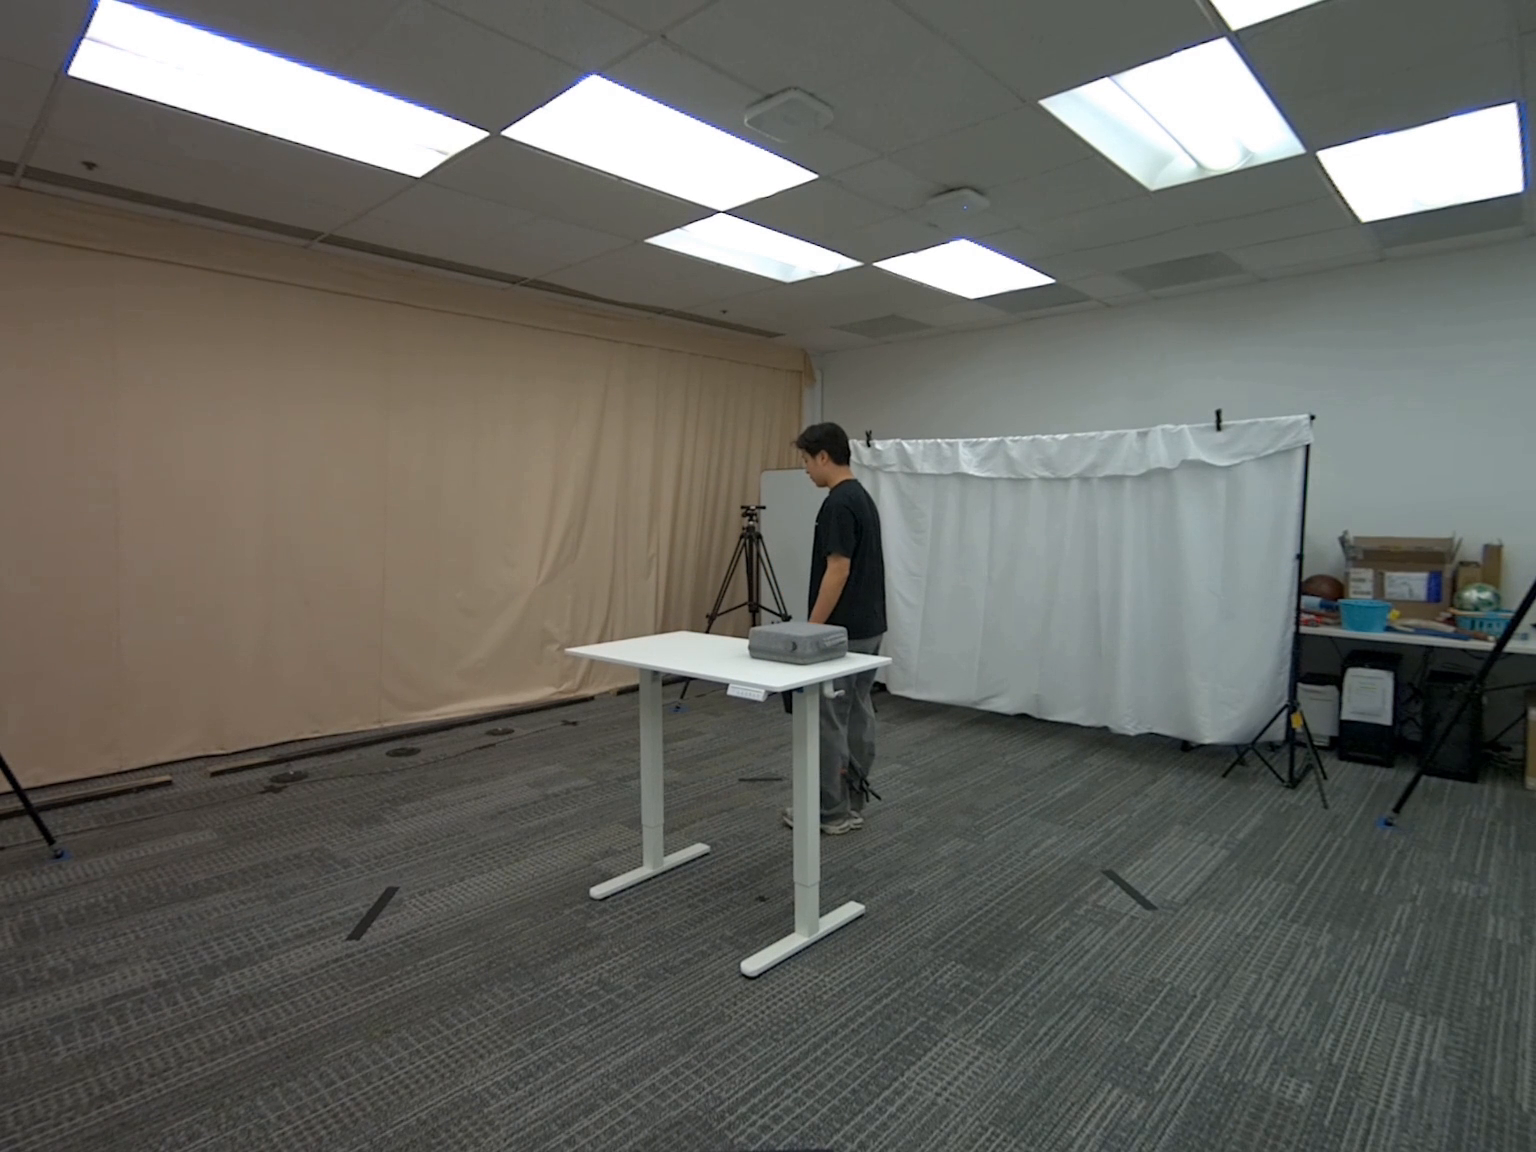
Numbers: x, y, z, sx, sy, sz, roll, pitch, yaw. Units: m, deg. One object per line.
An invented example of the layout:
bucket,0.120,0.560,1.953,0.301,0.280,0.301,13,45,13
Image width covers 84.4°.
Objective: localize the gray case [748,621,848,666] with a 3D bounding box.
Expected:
gray case,0.102,0.222,2.809,0.269,0.104,0.249,3,4,42
